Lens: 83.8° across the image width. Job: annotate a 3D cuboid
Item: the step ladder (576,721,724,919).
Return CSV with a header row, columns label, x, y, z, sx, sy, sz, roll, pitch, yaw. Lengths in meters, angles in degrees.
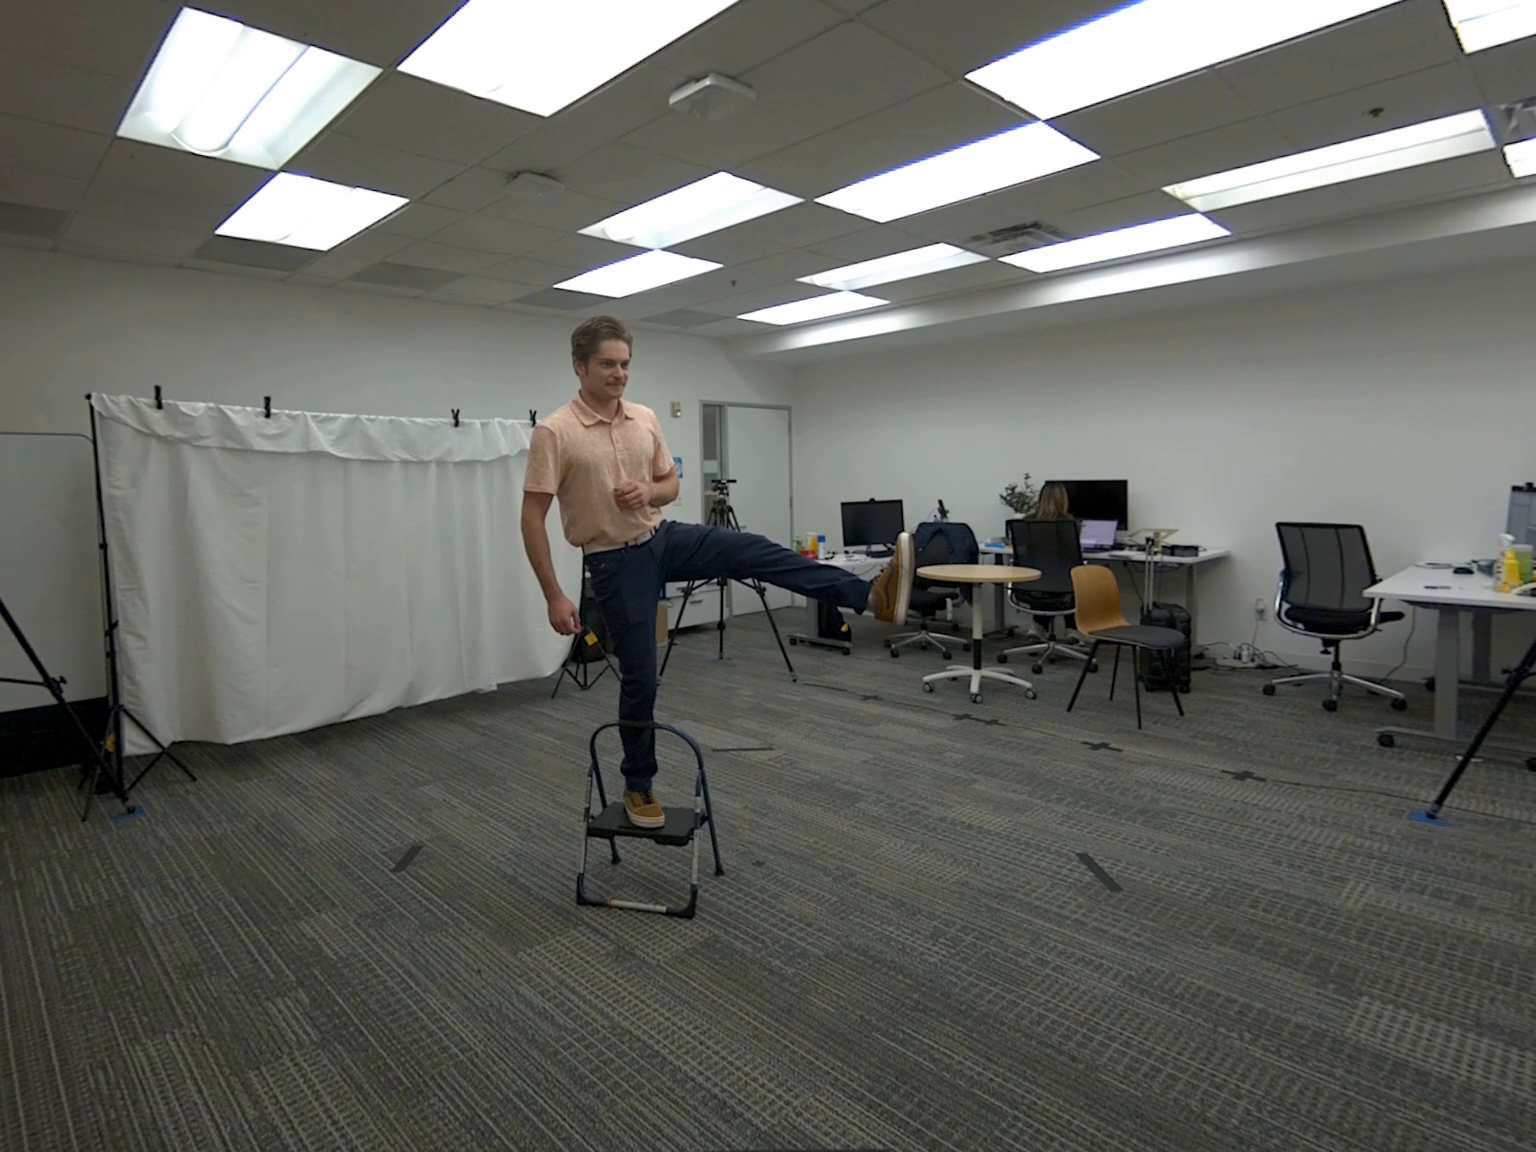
label,x,y,z,sx,sy,sz,roll,pitch,yaw
step ladder,-0.406,0.776,2.922,0.437,0.604,0.346,0,5,14
